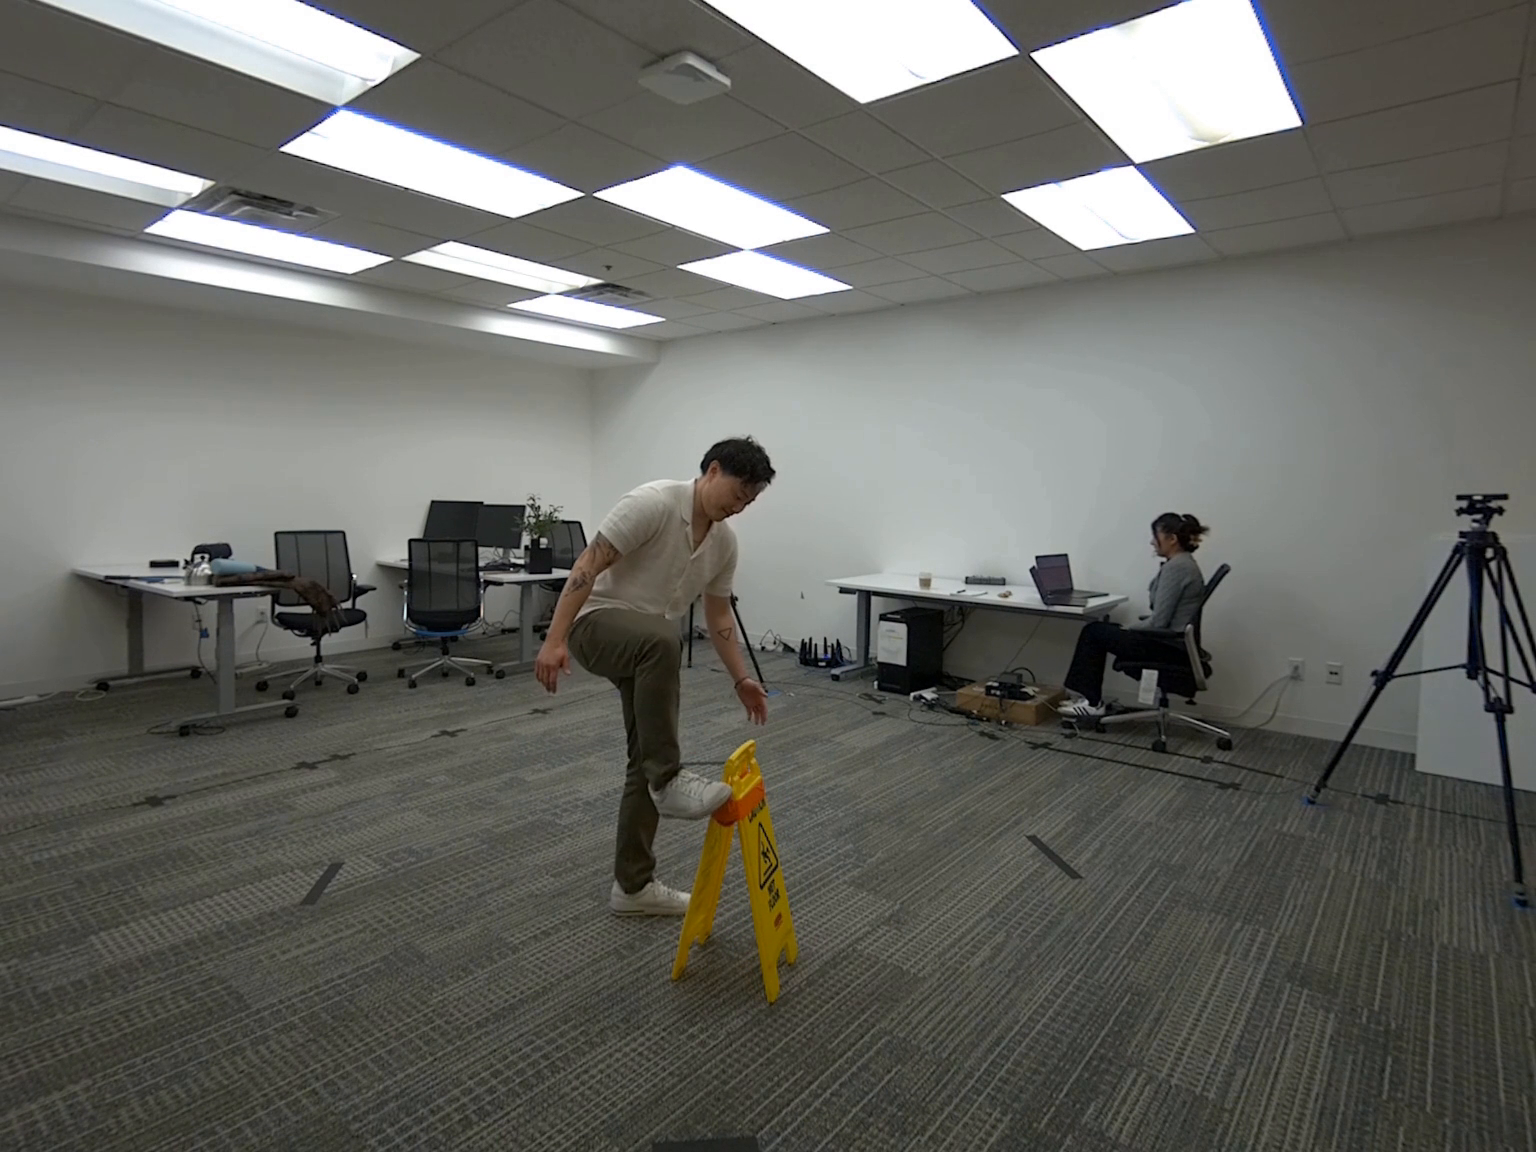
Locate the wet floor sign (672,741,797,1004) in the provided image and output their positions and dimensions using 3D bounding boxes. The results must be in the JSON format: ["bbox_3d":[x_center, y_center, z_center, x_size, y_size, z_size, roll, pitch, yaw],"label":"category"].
[{"bbox_3d":[-0.086,0.809,2.458,0.296,0.644,0.277,3,3,18],"label":"wet floor sign"}]
